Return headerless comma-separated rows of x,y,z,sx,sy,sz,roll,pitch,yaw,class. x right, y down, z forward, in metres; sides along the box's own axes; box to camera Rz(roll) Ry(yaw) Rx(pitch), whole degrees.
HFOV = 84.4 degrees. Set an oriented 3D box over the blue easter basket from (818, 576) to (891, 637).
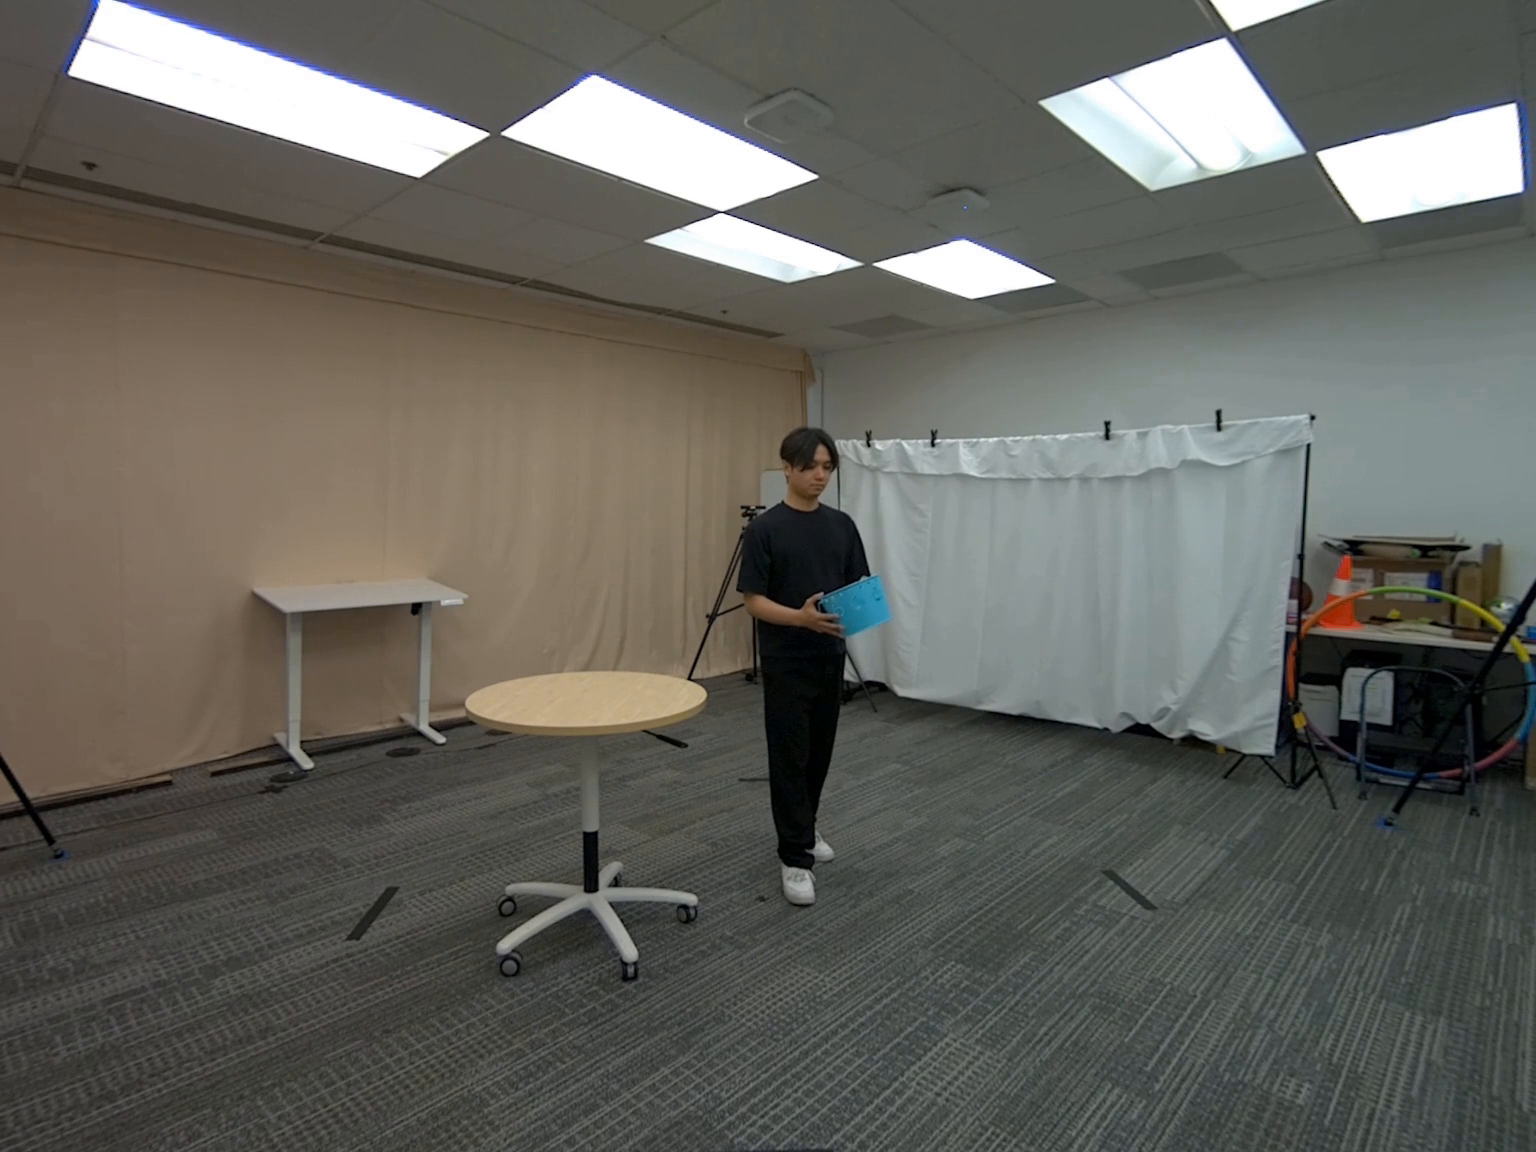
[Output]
0.299,0.105,2.844,0.243,0.157,0.243,-21,-5,-4,blue easter basket
